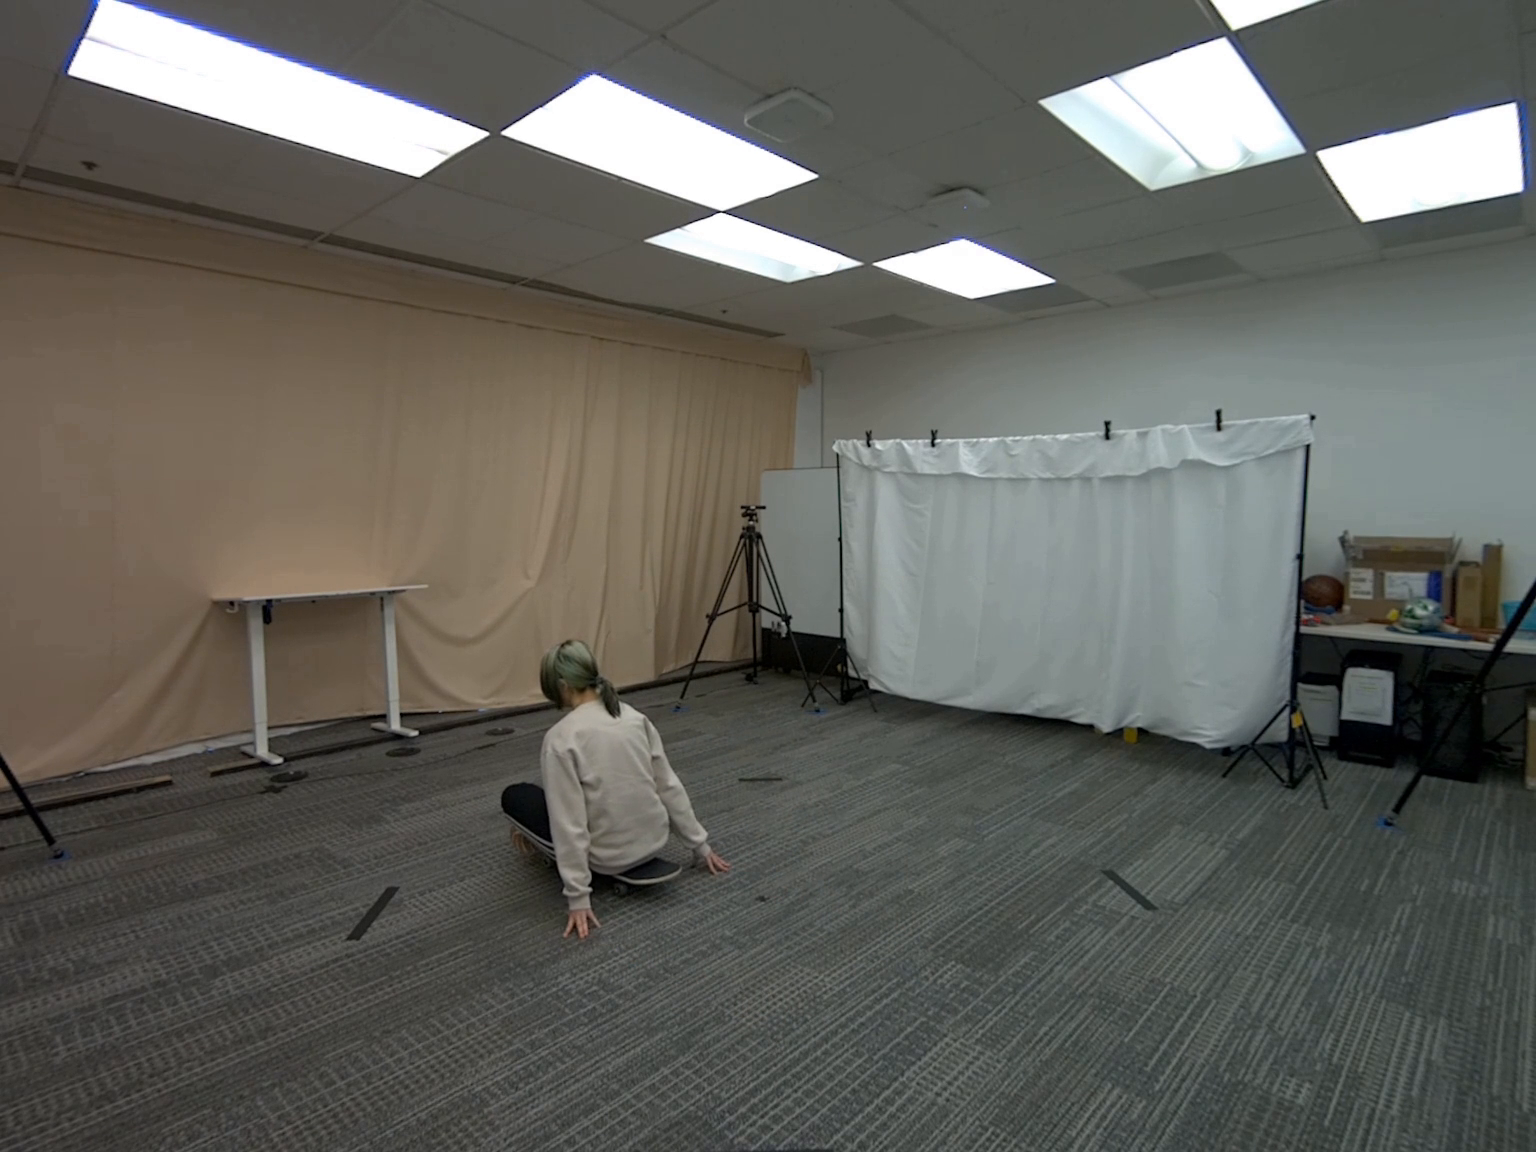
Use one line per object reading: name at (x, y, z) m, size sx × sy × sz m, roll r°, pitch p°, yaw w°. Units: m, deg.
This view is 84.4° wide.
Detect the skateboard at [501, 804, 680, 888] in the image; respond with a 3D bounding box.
skateboard at (-0.668, 1.082, 3.200) m, size 0.812 × 0.110 × 0.188 m, roll 6°, pitch 9°, yaw 40°
